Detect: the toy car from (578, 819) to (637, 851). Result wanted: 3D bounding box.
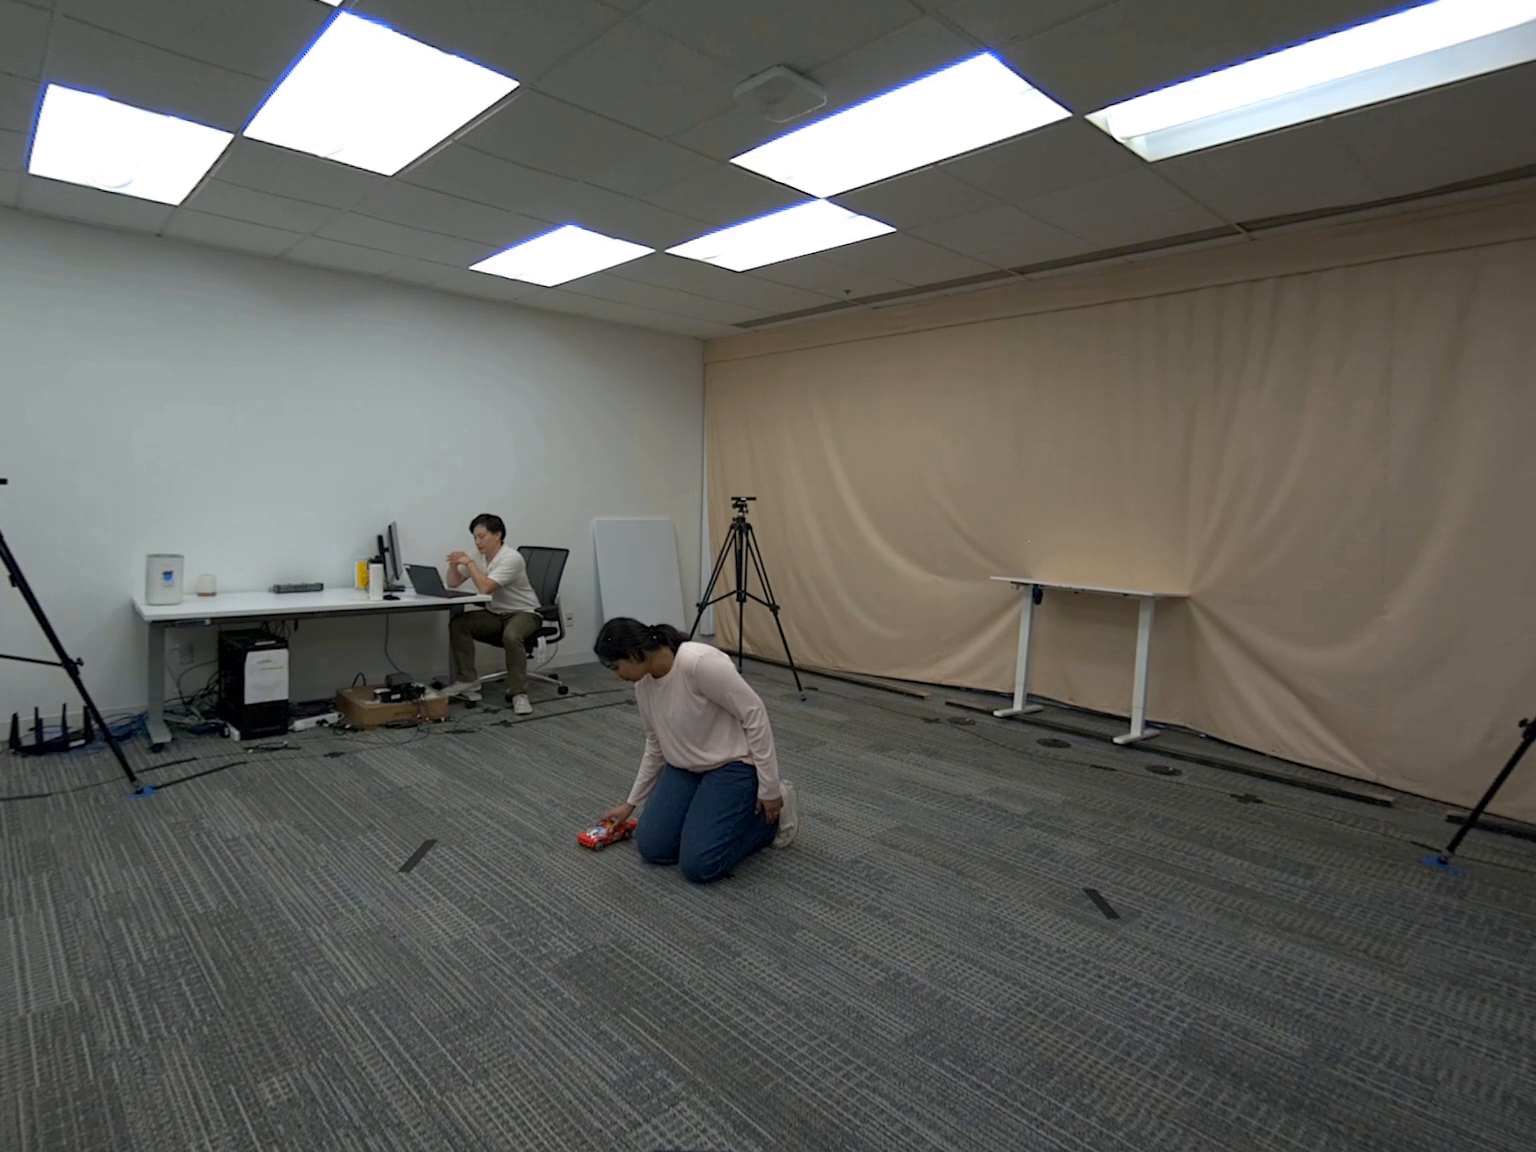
[{"bbox_3d":[-0.650,1.032,3.402,0.133,0.082,0.251,4,16,40],"label":"toy car"}]
